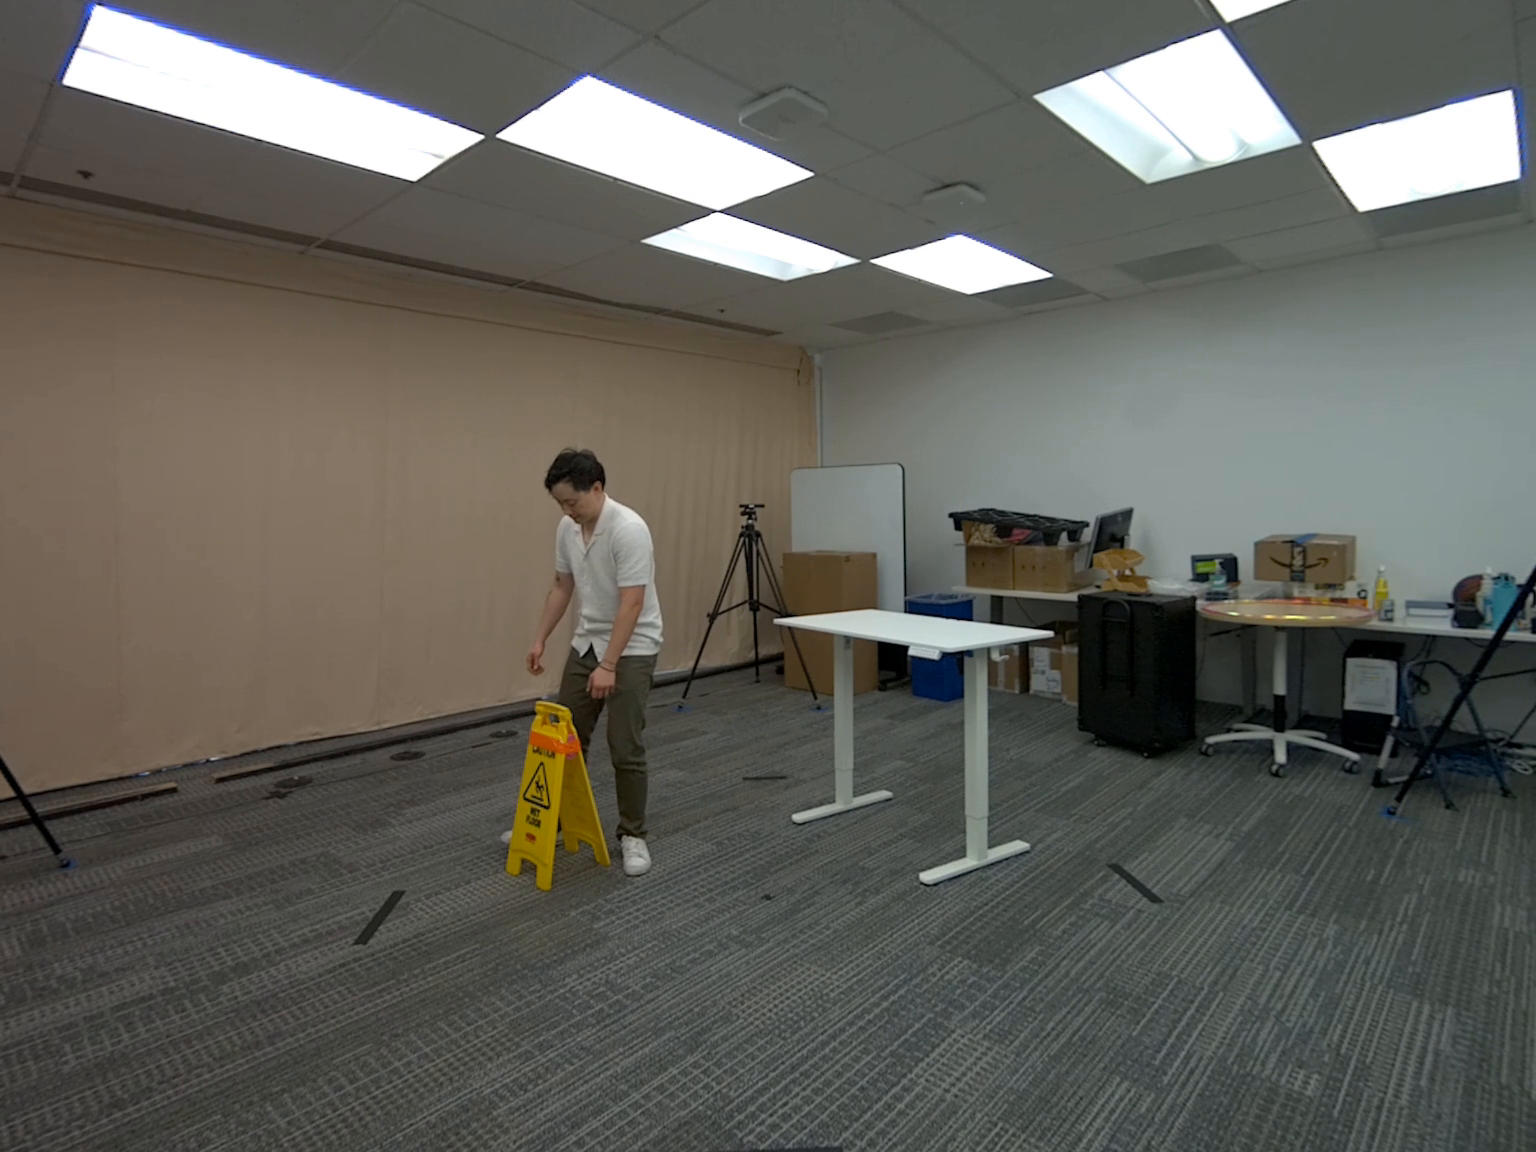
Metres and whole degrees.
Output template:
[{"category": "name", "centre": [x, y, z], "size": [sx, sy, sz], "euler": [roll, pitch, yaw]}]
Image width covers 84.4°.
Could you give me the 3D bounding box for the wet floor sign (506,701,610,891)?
[{"category": "wet floor sign", "centre": [-0.820, 0.819, 3.250], "size": [0.291, 0.644, 0.281], "euler": [1, 5, 41]}]
